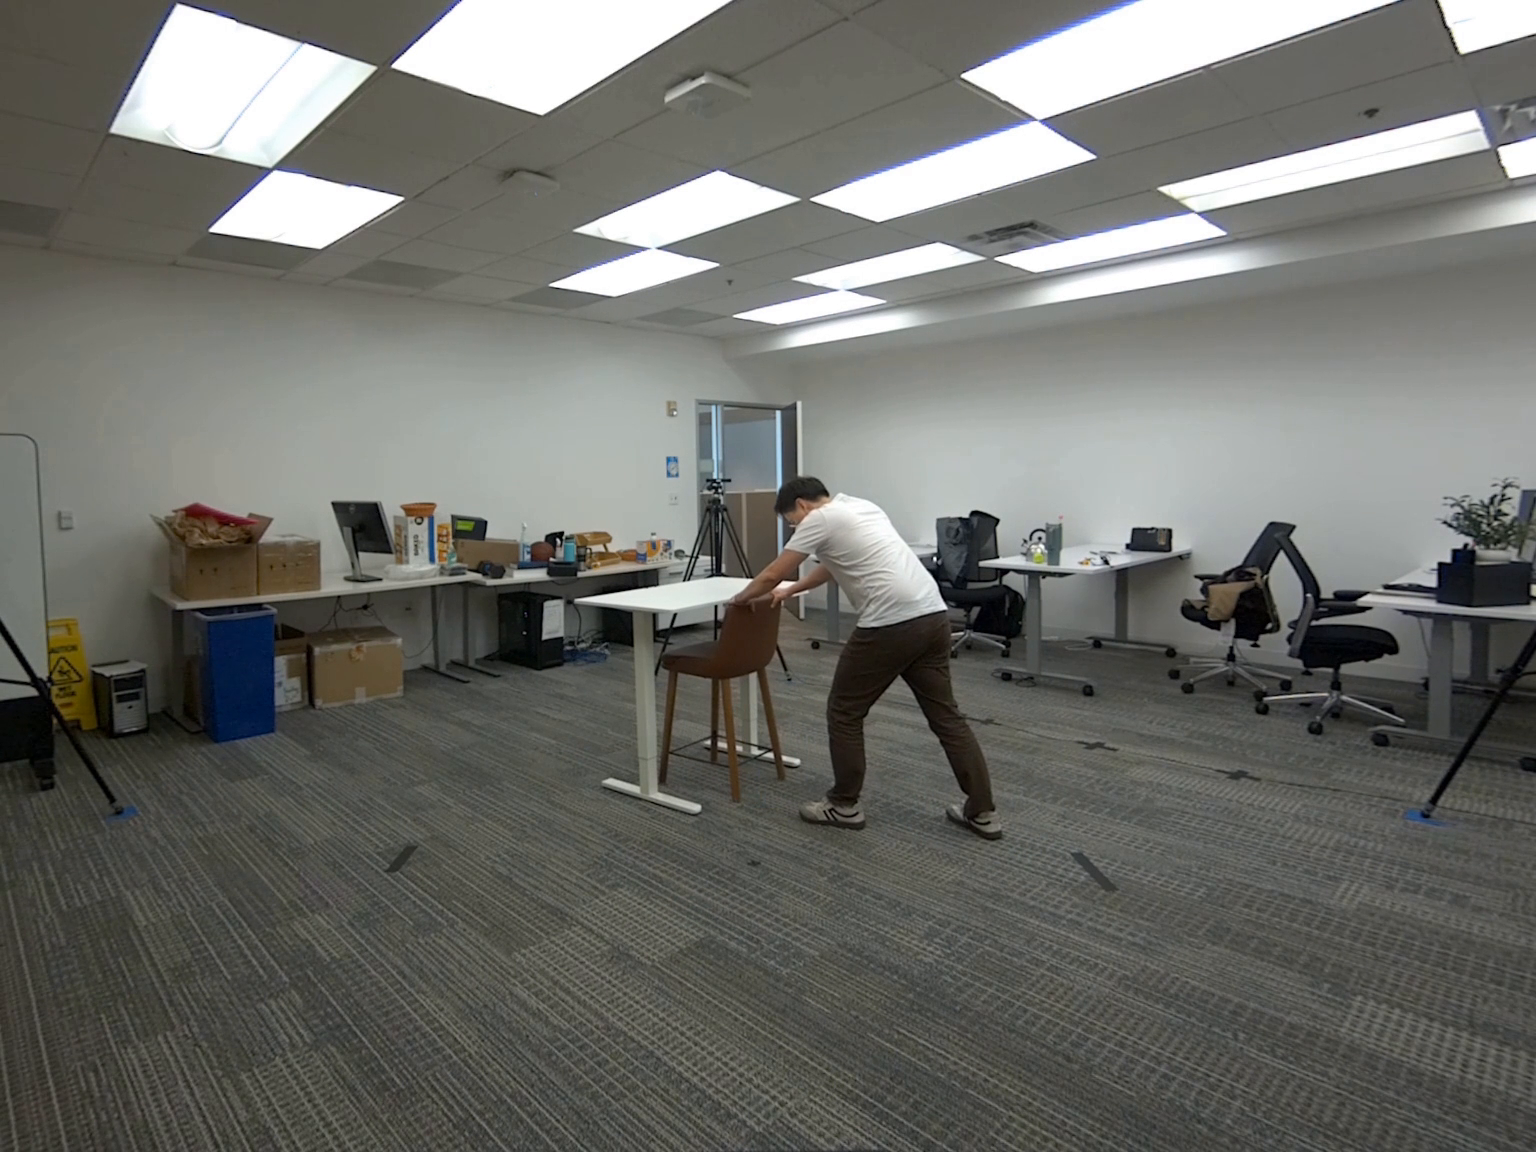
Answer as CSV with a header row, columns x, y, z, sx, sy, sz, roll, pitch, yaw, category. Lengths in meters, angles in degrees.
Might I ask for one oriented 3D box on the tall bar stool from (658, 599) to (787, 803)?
x,y,z,sx,sy,sz,roll,pitch,yaw,category
-0.210,0.520,3.946,0.482,0.886,0.445,4,6,38,tall bar stool
